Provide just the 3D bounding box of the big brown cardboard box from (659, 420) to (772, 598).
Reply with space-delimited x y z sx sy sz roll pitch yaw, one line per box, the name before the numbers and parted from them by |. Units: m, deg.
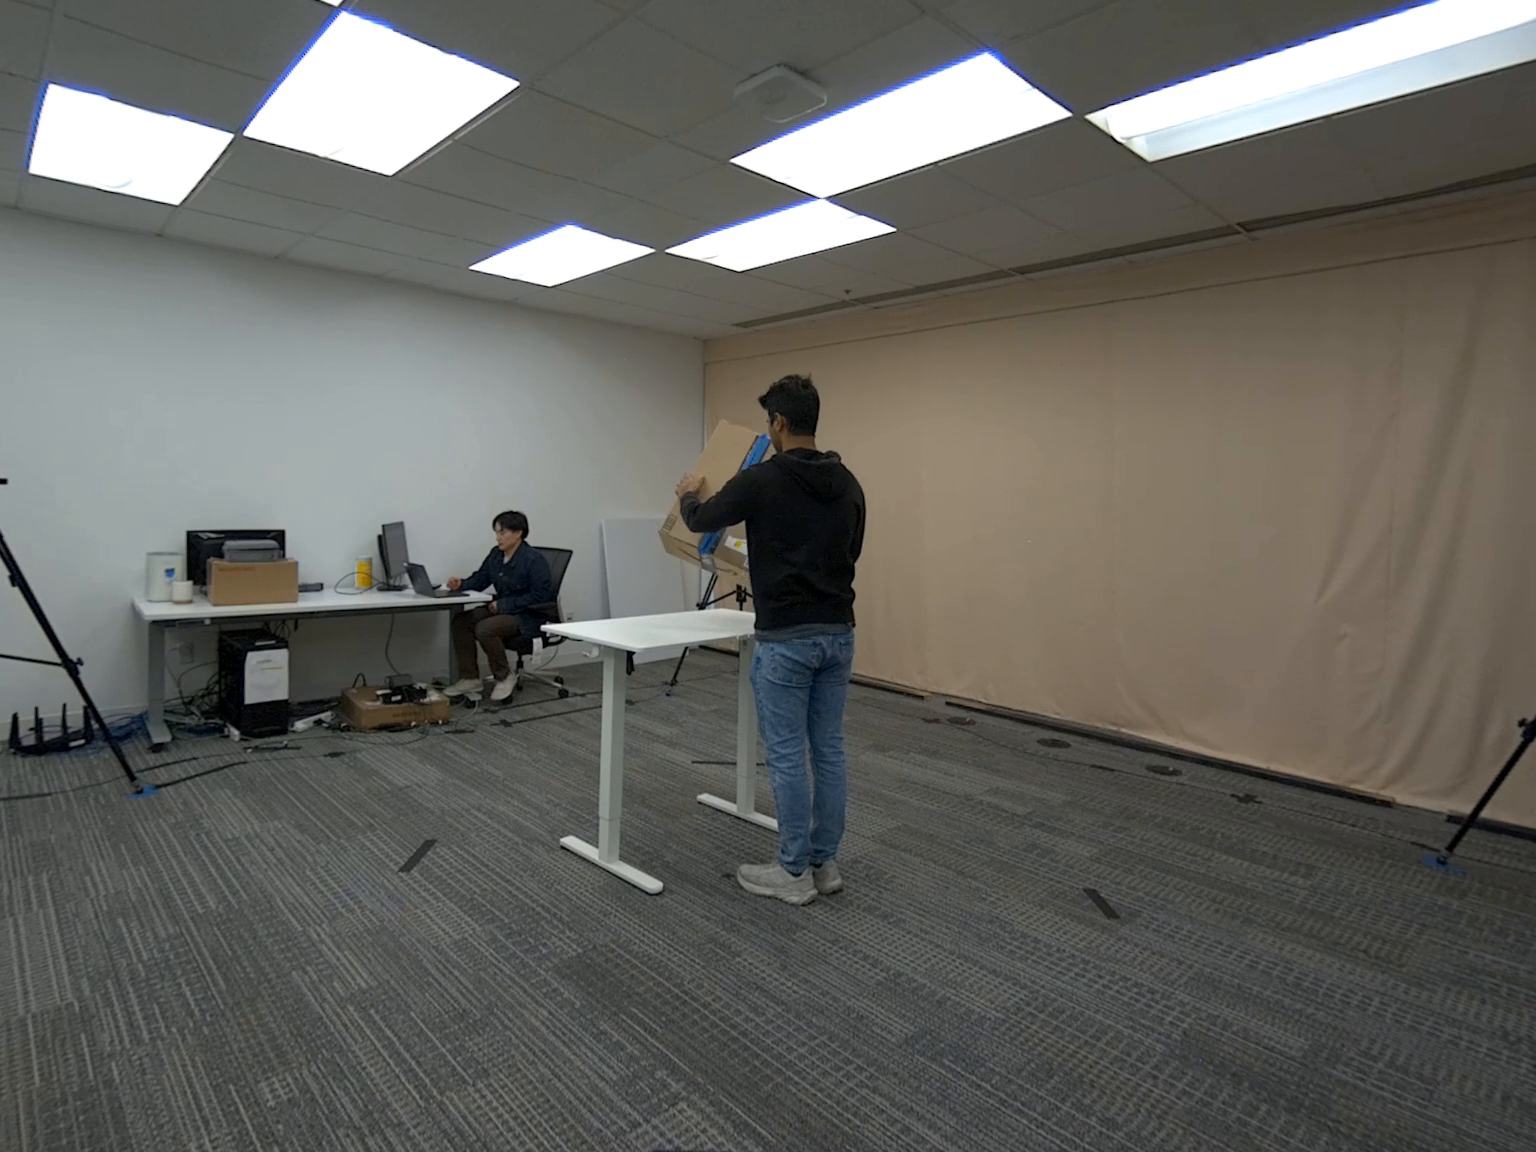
big brown cardboard box | -0.131 -0.277 3.442 0.423 0.592 0.229 23 -20 12
